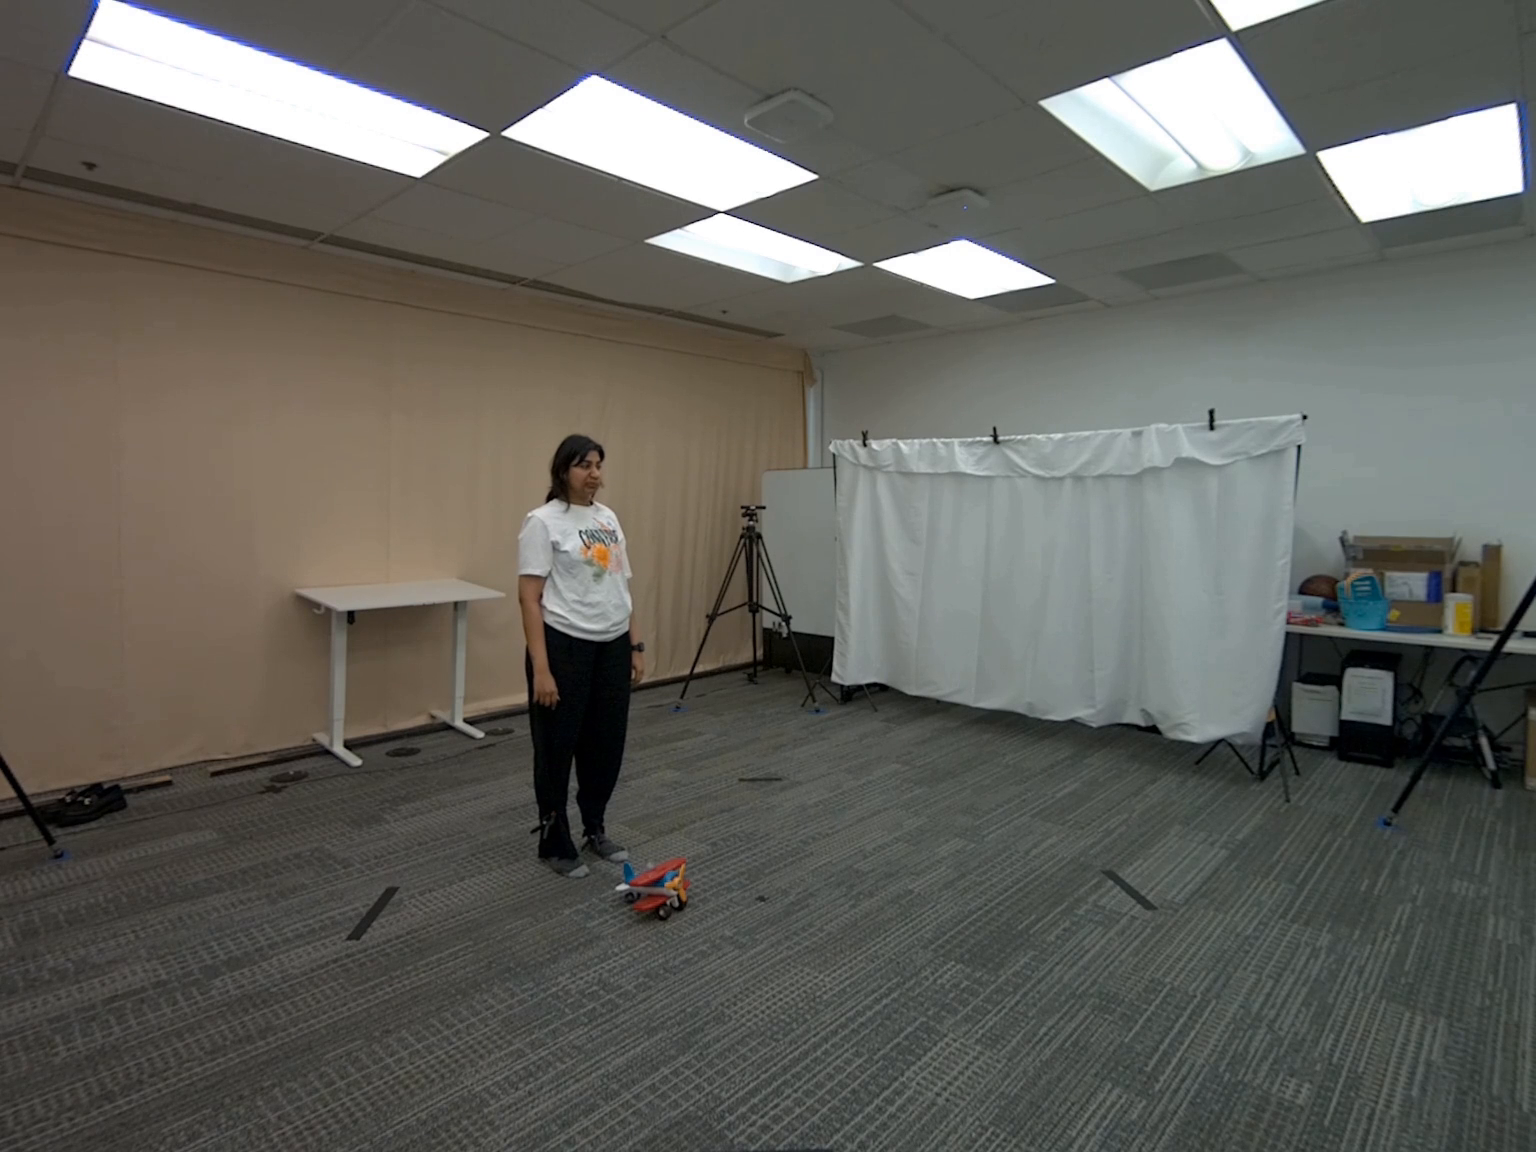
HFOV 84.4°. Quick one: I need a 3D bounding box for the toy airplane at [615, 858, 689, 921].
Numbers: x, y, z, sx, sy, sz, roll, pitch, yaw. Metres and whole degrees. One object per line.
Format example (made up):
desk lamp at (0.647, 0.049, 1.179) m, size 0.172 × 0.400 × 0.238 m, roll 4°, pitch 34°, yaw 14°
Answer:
toy airplane at (-0.409, 1.077, 2.899) m, size 0.262 × 0.156 × 0.249 m, roll 1°, pitch 5°, yaw 7°
